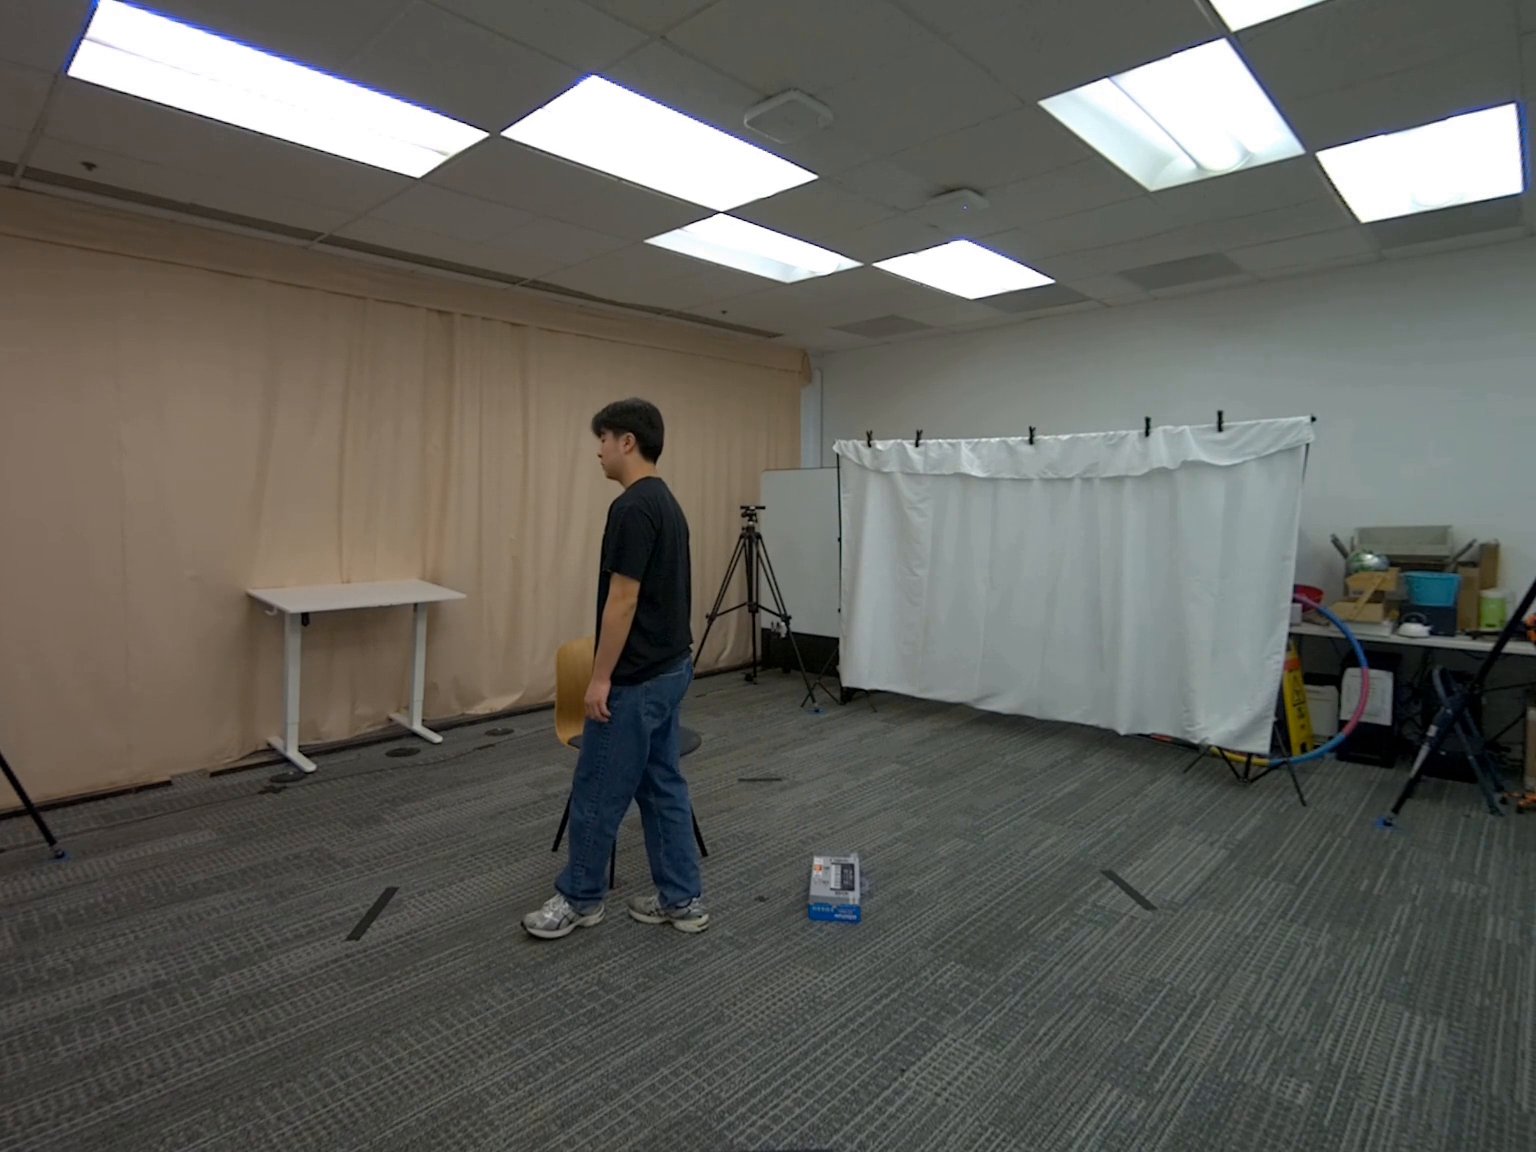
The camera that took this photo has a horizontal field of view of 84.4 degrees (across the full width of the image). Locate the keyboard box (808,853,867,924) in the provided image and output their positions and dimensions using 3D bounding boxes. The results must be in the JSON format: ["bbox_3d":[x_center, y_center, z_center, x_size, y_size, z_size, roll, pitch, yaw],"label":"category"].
[{"bbox_3d":[0.251,1.113,3.034,0.177,0.059,0.434,0,5,6],"label":"keyboard box"}]
